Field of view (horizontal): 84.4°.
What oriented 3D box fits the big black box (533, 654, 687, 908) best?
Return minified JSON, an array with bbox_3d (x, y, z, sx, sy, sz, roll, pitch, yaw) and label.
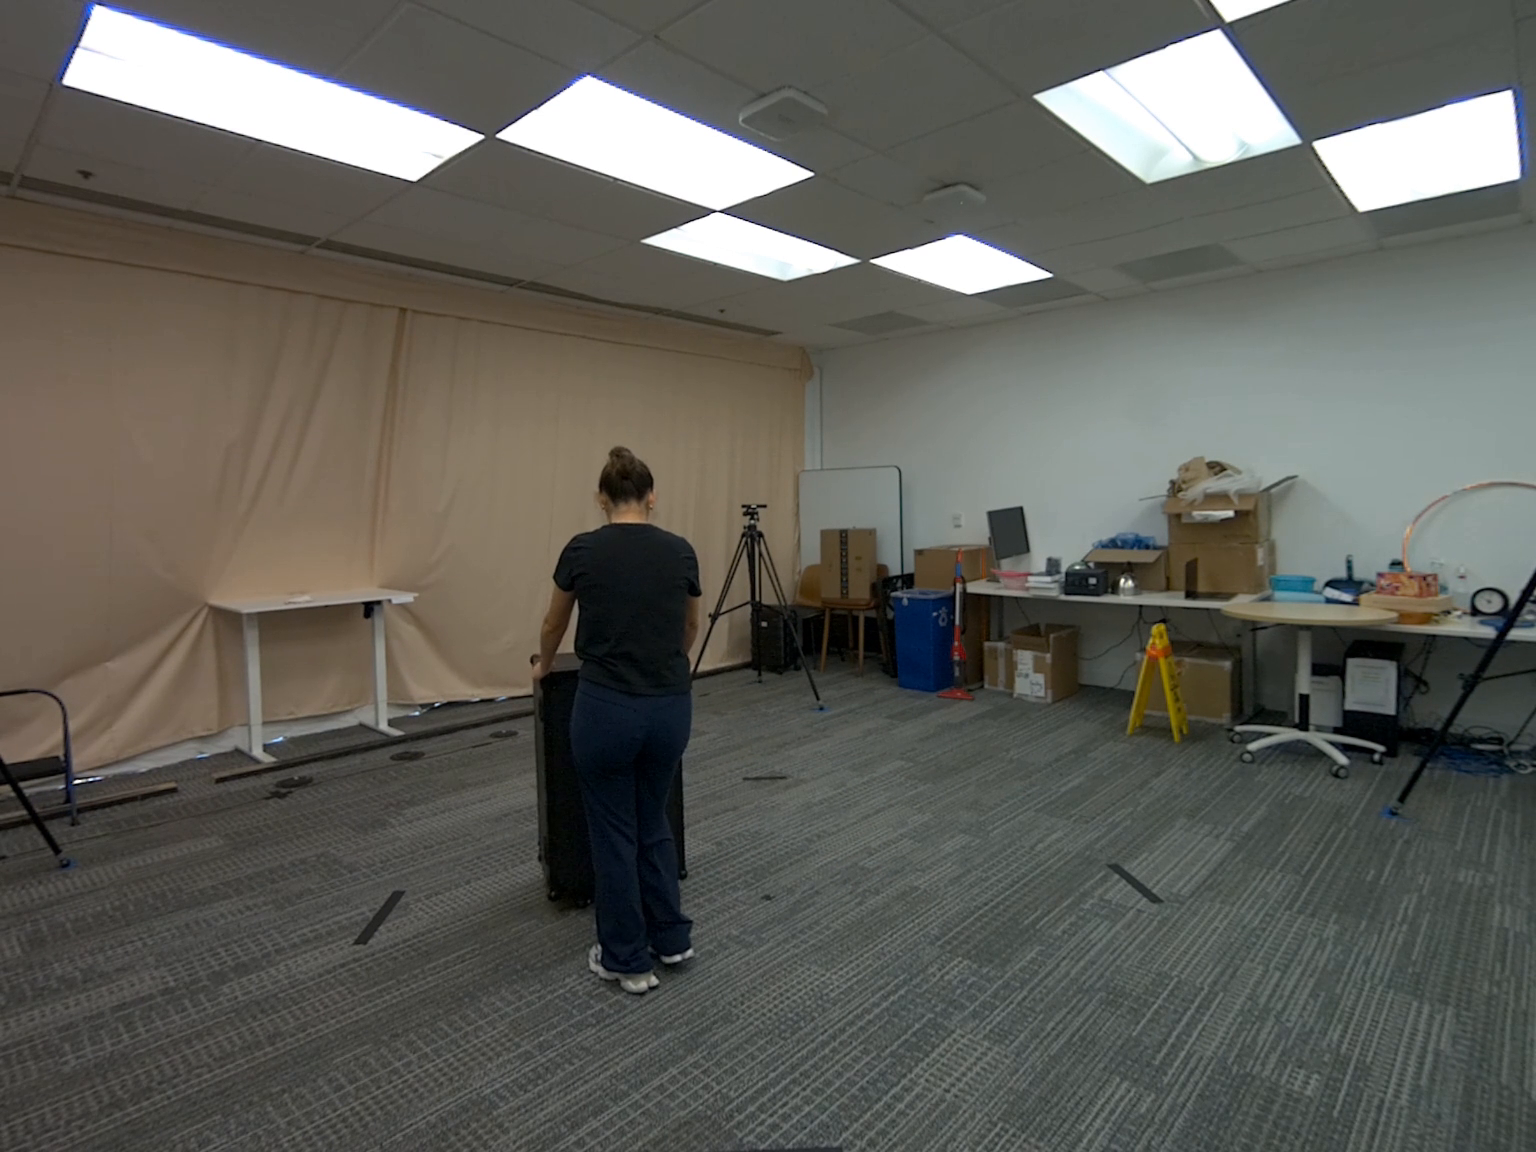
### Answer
[{"bbox_3d":[-0.579,0.719,3.069,0.512,0.860,0.404,-3,3,-19],"label":"big black box"}]
